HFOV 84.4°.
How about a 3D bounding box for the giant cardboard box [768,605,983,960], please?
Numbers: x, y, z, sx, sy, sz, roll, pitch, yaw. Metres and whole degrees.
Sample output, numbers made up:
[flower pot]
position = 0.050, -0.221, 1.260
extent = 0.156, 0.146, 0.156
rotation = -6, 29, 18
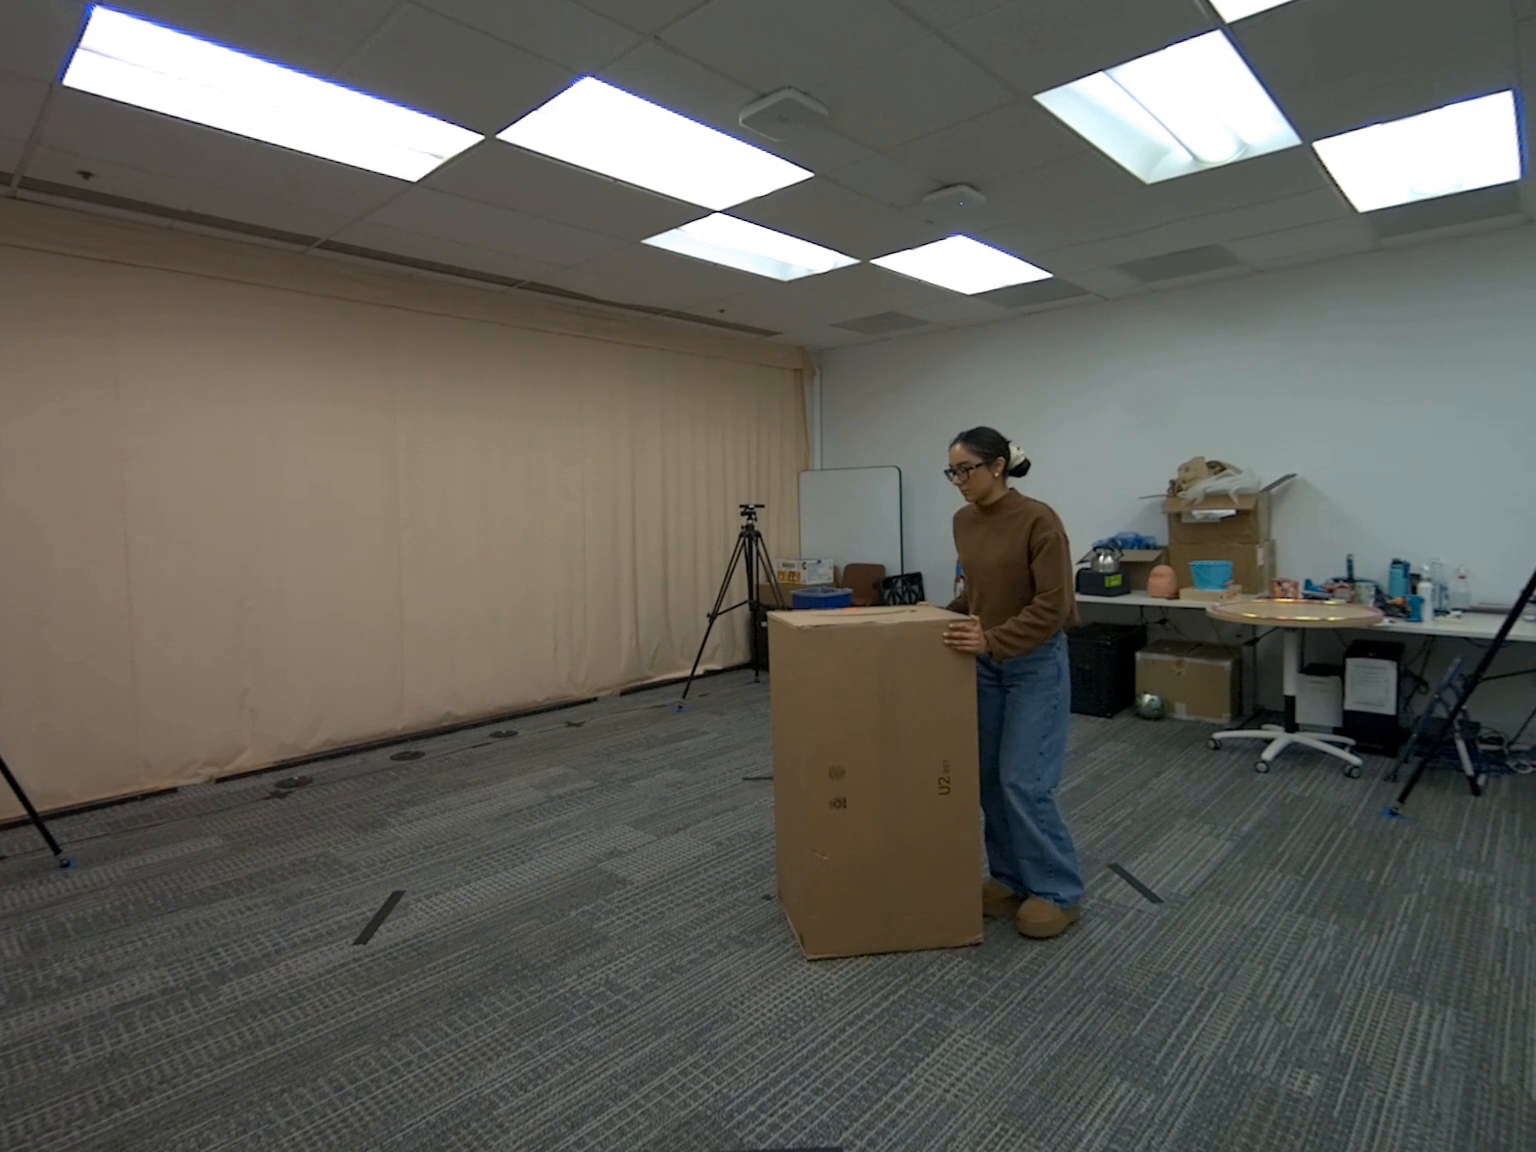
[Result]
[giant cardboard box]
position = 0.337, 0.638, 2.789
extent = 0.573, 1.024, 0.430
rotation = -2, 2, -8
